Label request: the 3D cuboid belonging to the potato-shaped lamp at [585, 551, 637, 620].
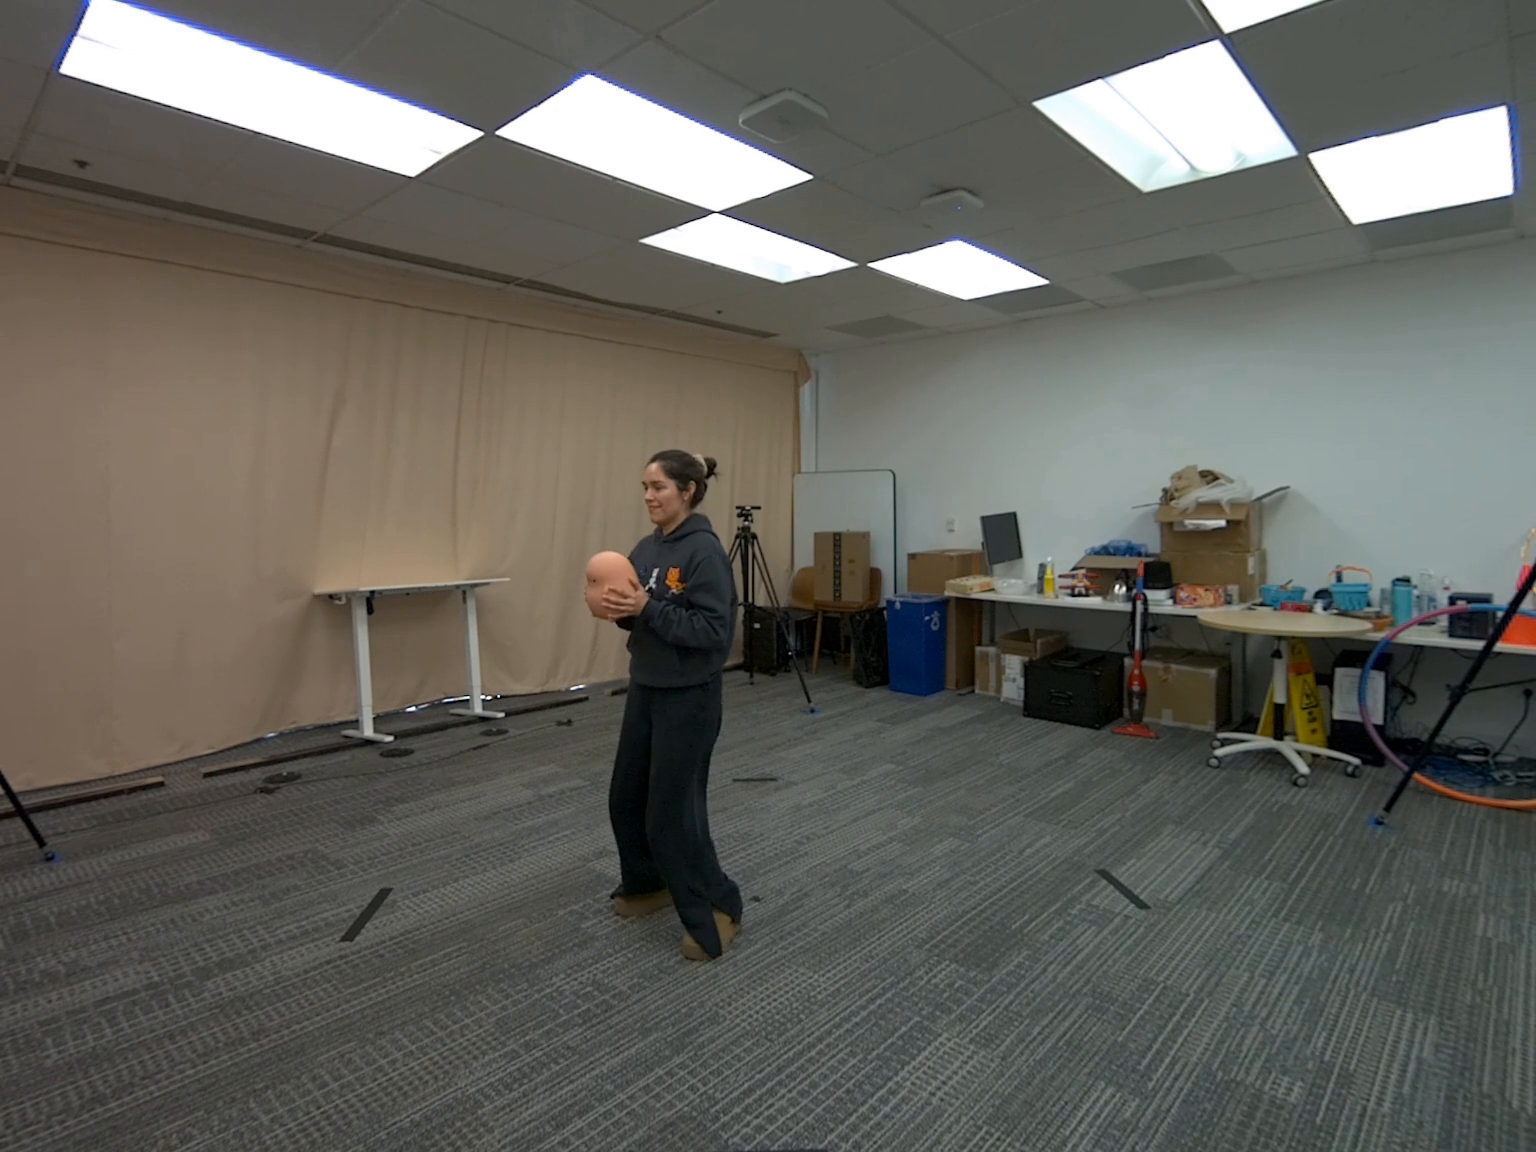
[{"bbox_3d":[-0.479,-0.004,2.597,0.168,0.195,0.170,-29,23,-31],"label":"potato-shaped lamp"}]
